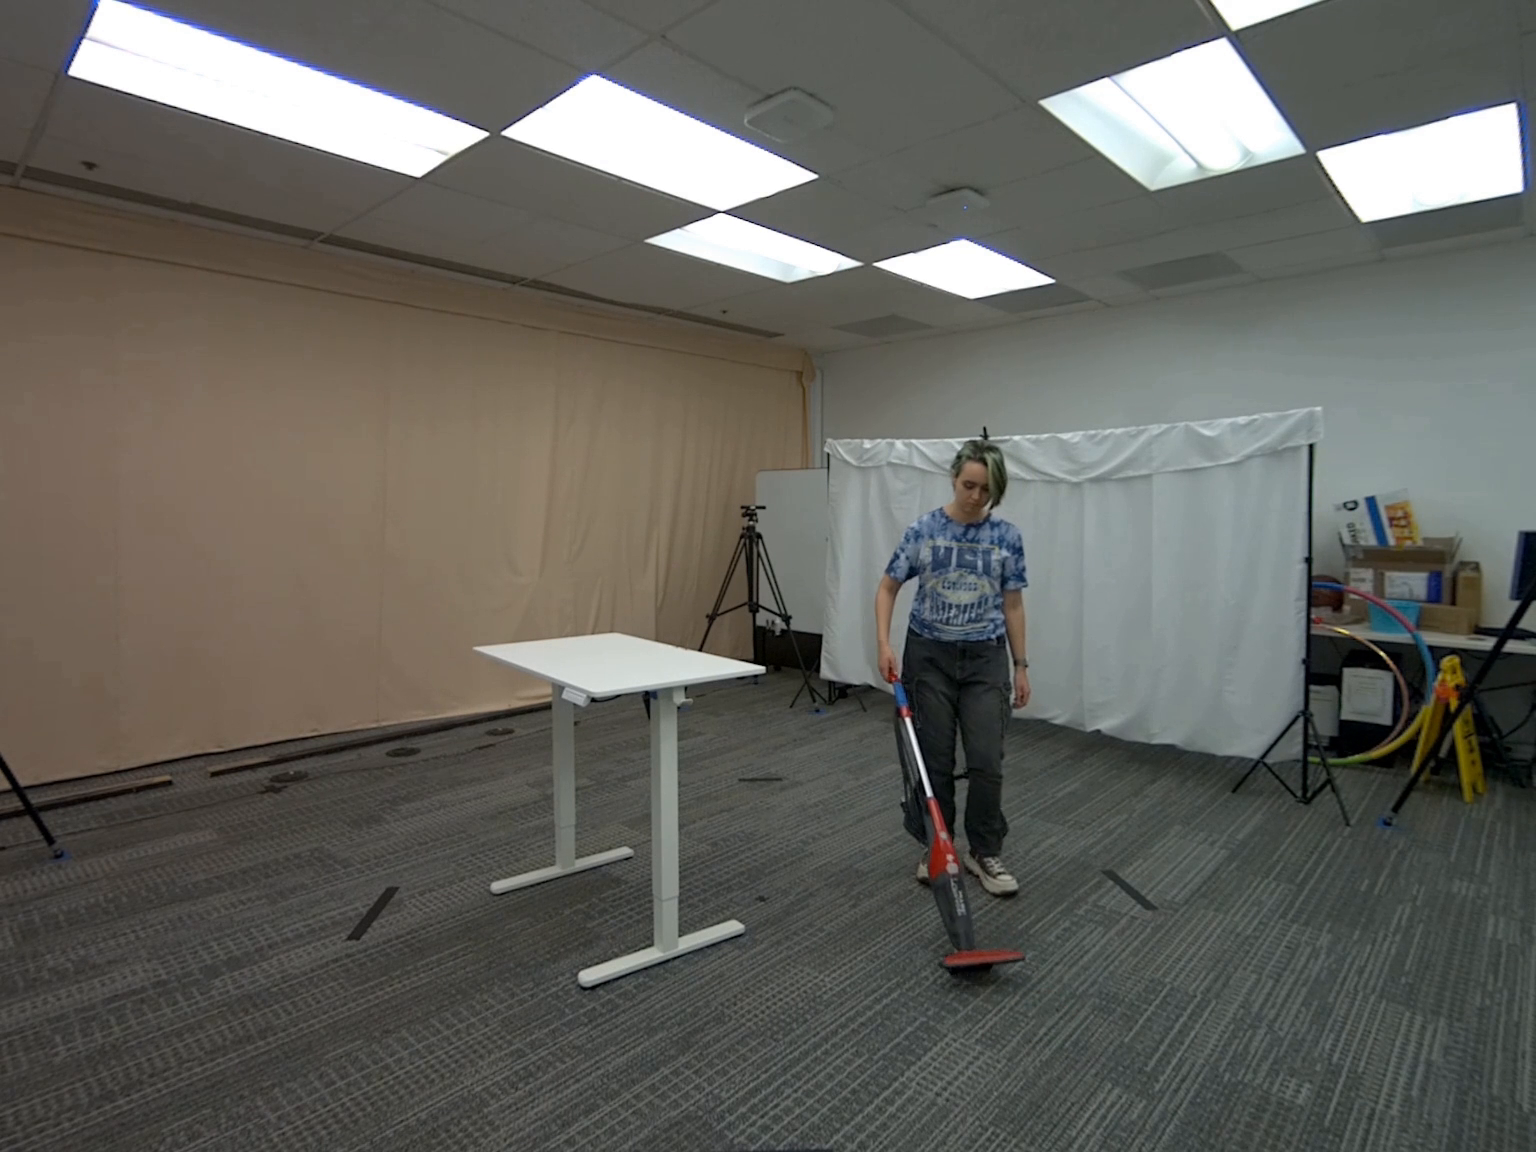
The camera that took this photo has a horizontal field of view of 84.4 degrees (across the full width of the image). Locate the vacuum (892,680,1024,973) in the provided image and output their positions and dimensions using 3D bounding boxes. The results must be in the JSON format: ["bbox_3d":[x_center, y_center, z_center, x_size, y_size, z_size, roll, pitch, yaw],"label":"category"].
[{"bbox_3d":[0.542,0.772,2.811,0.249,0.142,1.075,-2,48,-12],"label":"vacuum"}]
